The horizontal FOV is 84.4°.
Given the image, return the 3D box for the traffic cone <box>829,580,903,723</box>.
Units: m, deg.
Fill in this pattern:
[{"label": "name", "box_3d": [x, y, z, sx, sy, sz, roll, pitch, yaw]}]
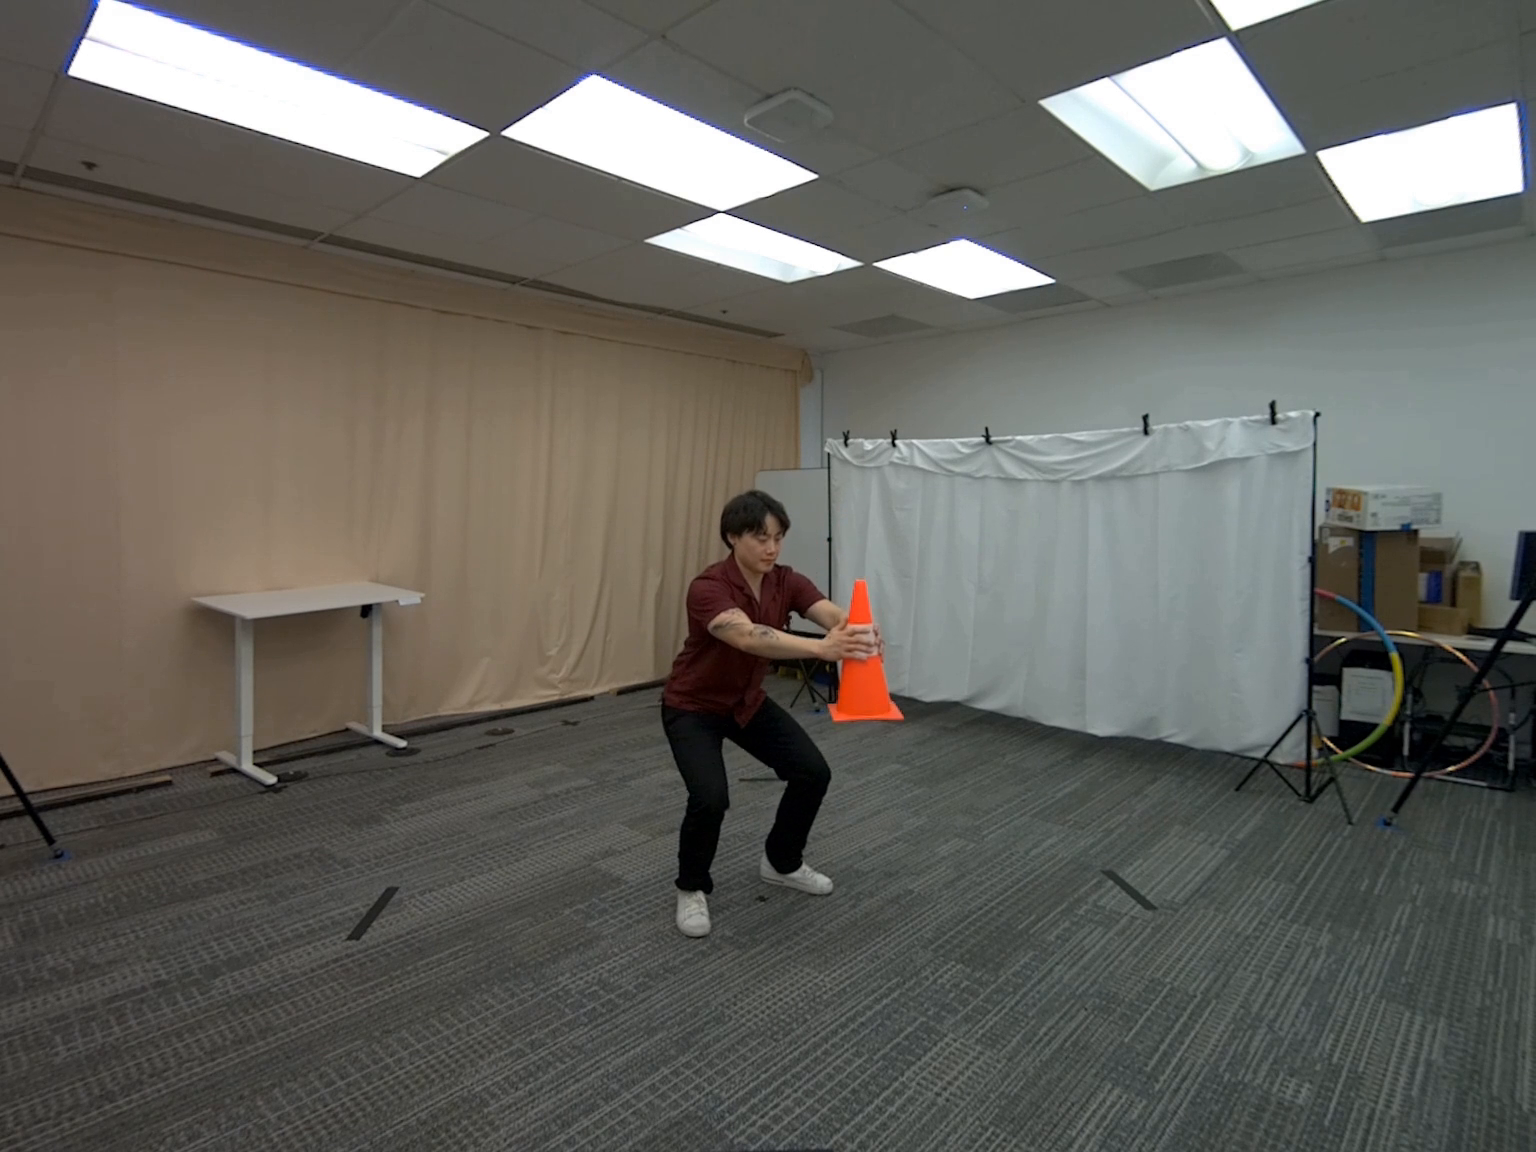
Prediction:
[{"label": "traffic cone", "box_3d": [0.276, 0.212, 2.432, 0.204, 0.383, 0.205, -4, 2, 1]}]
